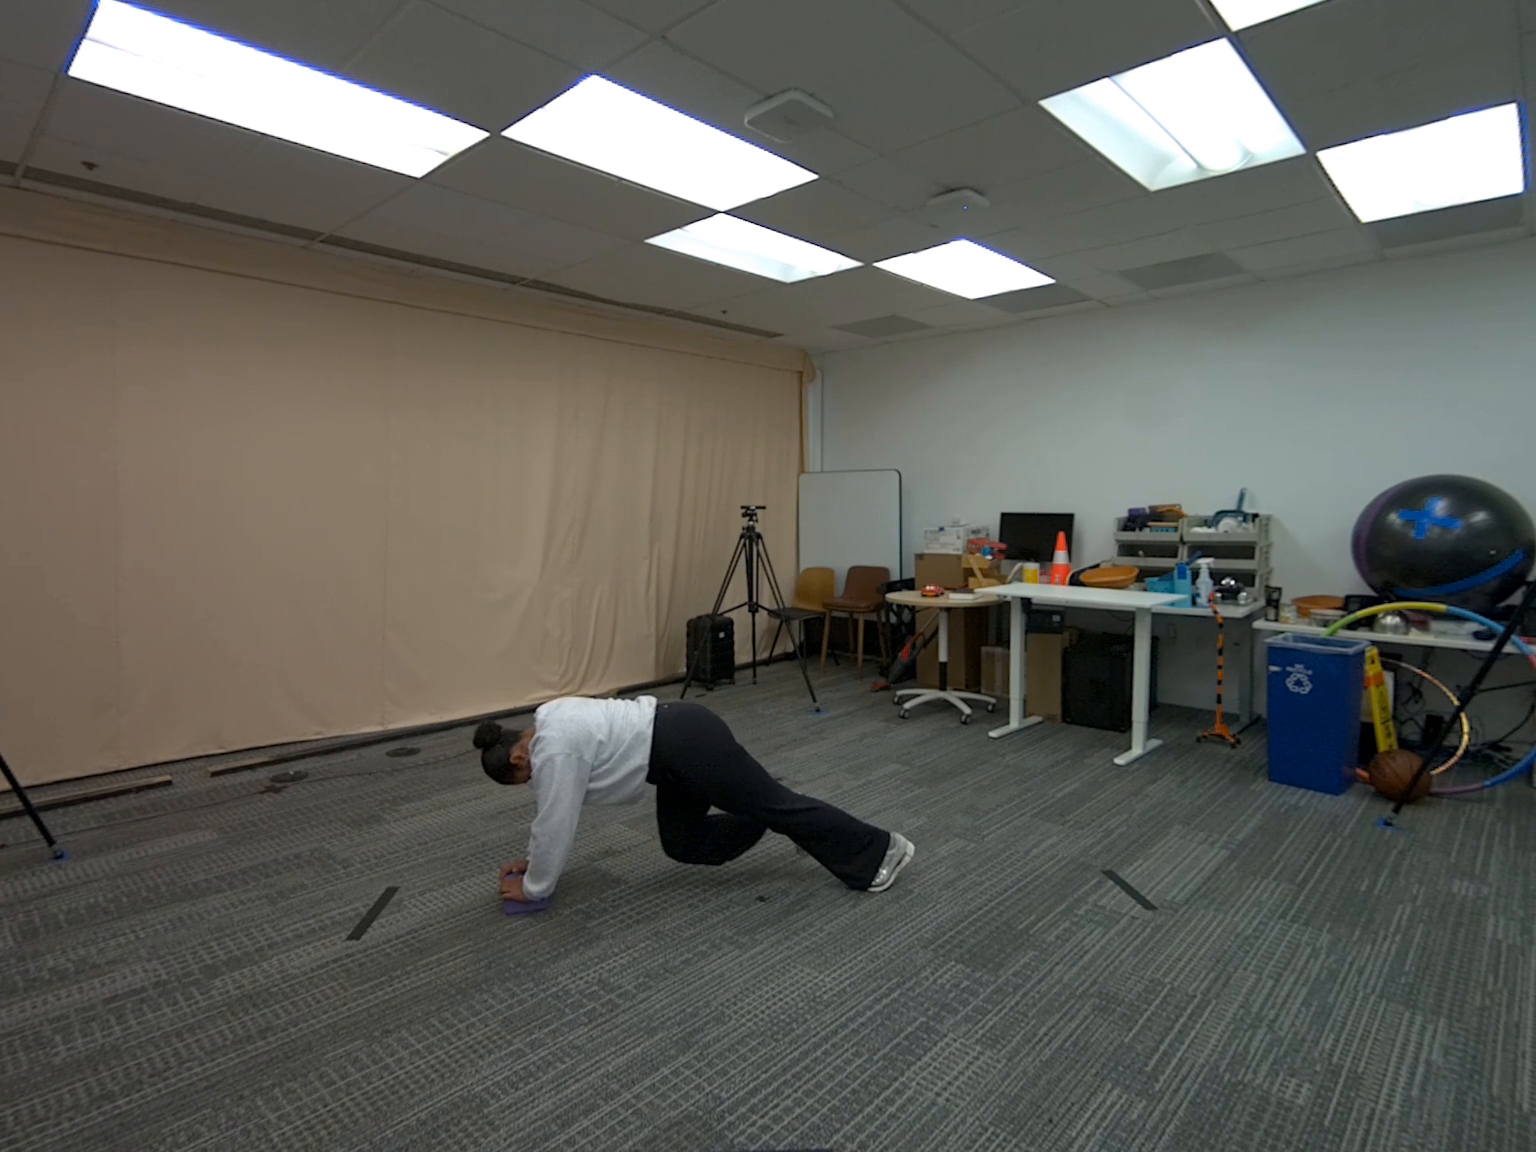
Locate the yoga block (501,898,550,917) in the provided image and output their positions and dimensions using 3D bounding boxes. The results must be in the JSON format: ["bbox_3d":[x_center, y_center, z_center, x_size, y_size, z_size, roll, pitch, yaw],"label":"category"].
[{"bbox_3d":[-0.869,1.123,2.999,0.146,0.076,0.233,-1,4,-17],"label":"yoga block"}]
